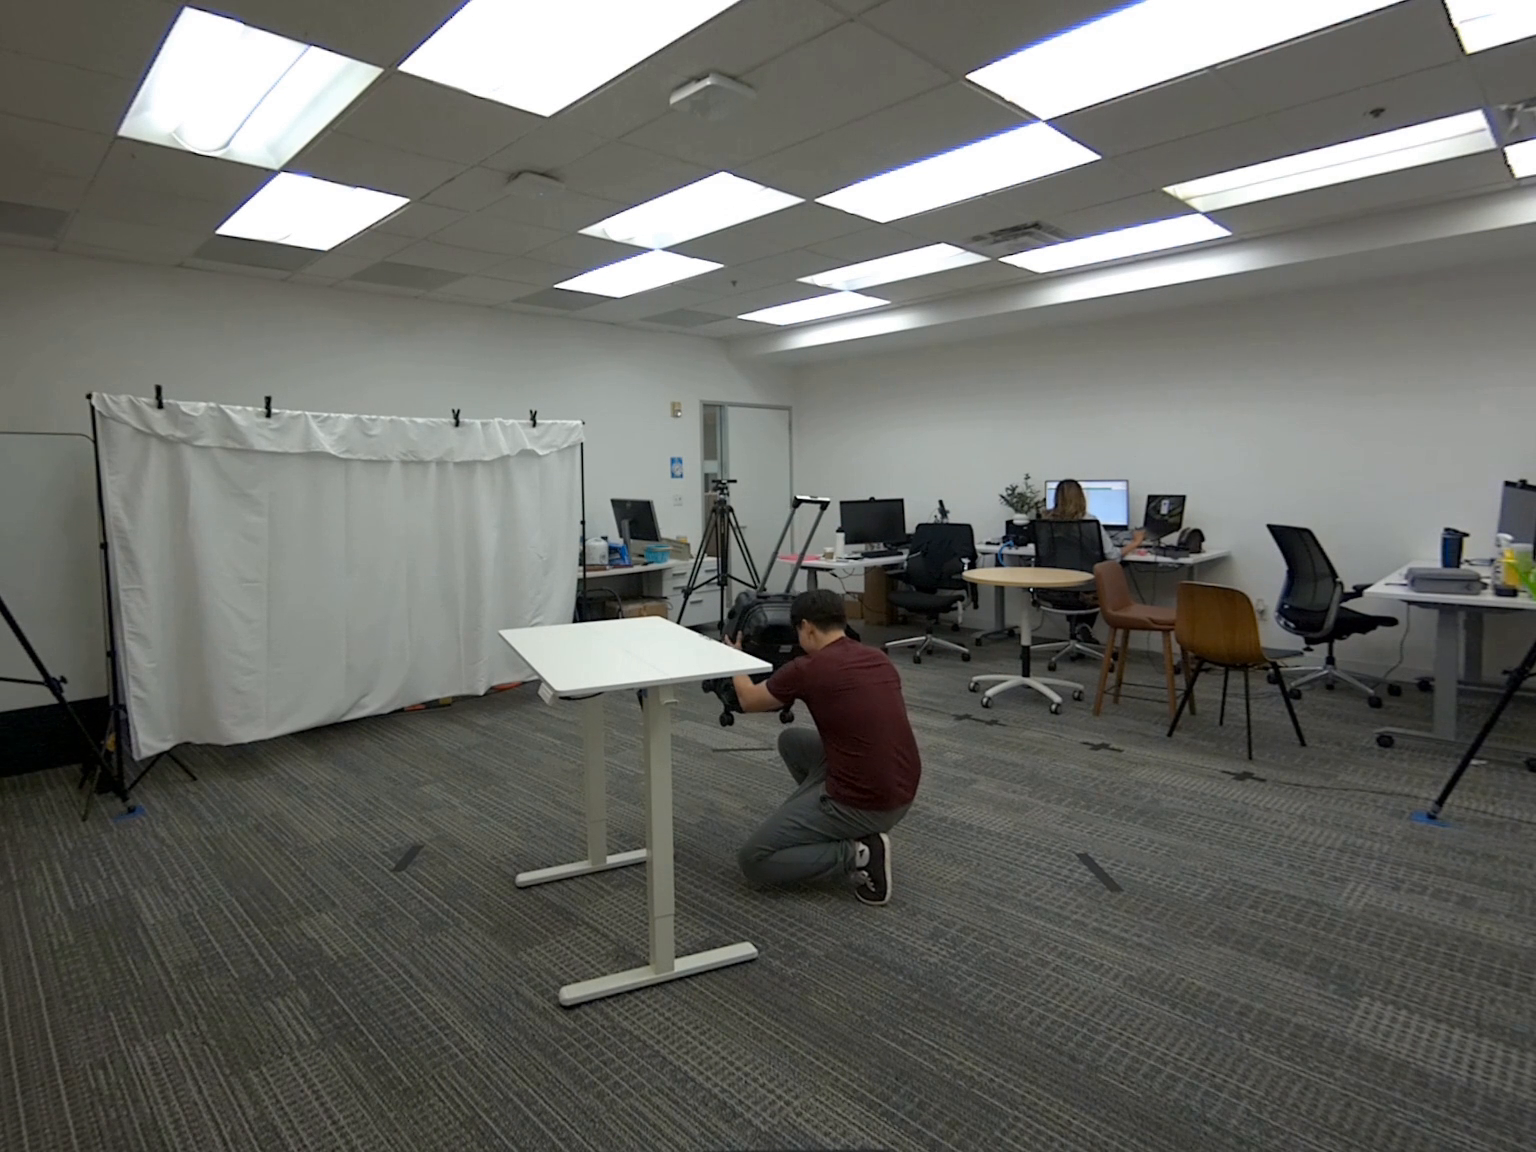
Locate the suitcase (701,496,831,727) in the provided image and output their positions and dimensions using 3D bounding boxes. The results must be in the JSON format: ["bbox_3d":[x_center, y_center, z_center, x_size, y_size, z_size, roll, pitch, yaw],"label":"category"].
[{"bbox_3d":[0.054,0.159,3.467,0.374,0.966,0.267,4,31,-28],"label":"suitcase"}]
